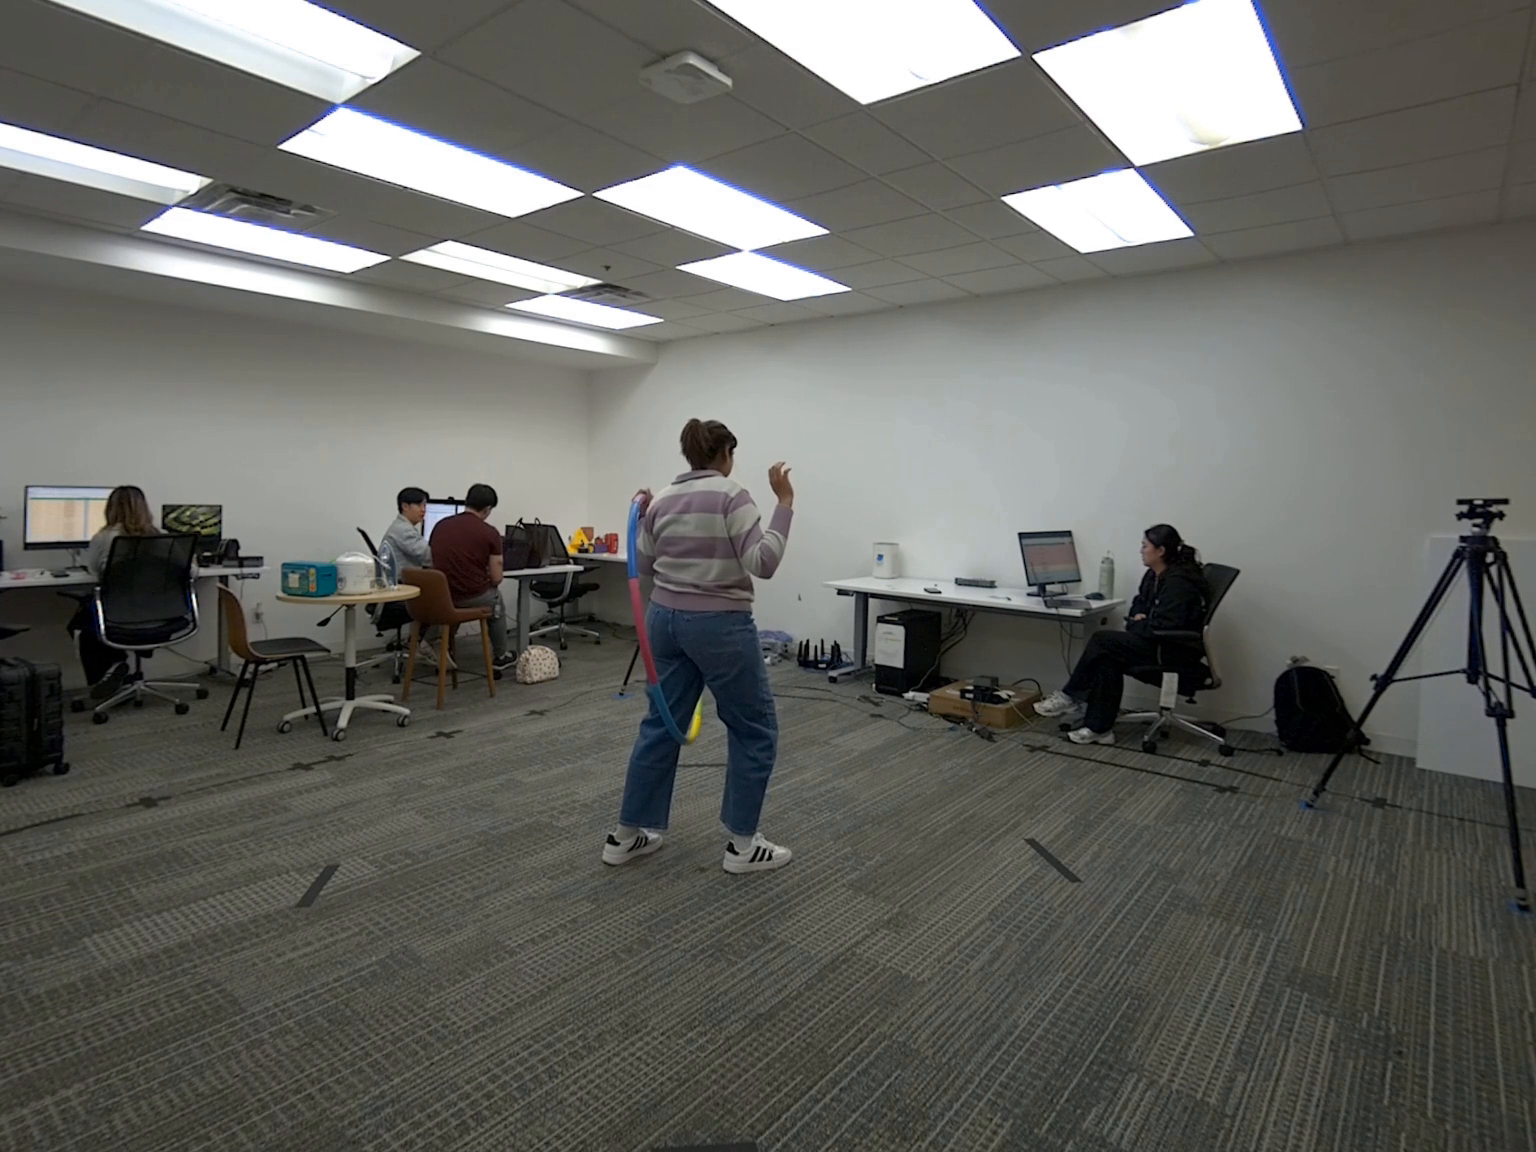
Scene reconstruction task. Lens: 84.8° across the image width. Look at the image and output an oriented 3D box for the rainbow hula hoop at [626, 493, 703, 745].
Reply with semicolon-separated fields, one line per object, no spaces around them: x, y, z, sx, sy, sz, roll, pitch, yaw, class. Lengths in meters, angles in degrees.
-0.399;0.151;3.336;0.052;0.984;0.982;-13;3;5;rainbow hula hoop
